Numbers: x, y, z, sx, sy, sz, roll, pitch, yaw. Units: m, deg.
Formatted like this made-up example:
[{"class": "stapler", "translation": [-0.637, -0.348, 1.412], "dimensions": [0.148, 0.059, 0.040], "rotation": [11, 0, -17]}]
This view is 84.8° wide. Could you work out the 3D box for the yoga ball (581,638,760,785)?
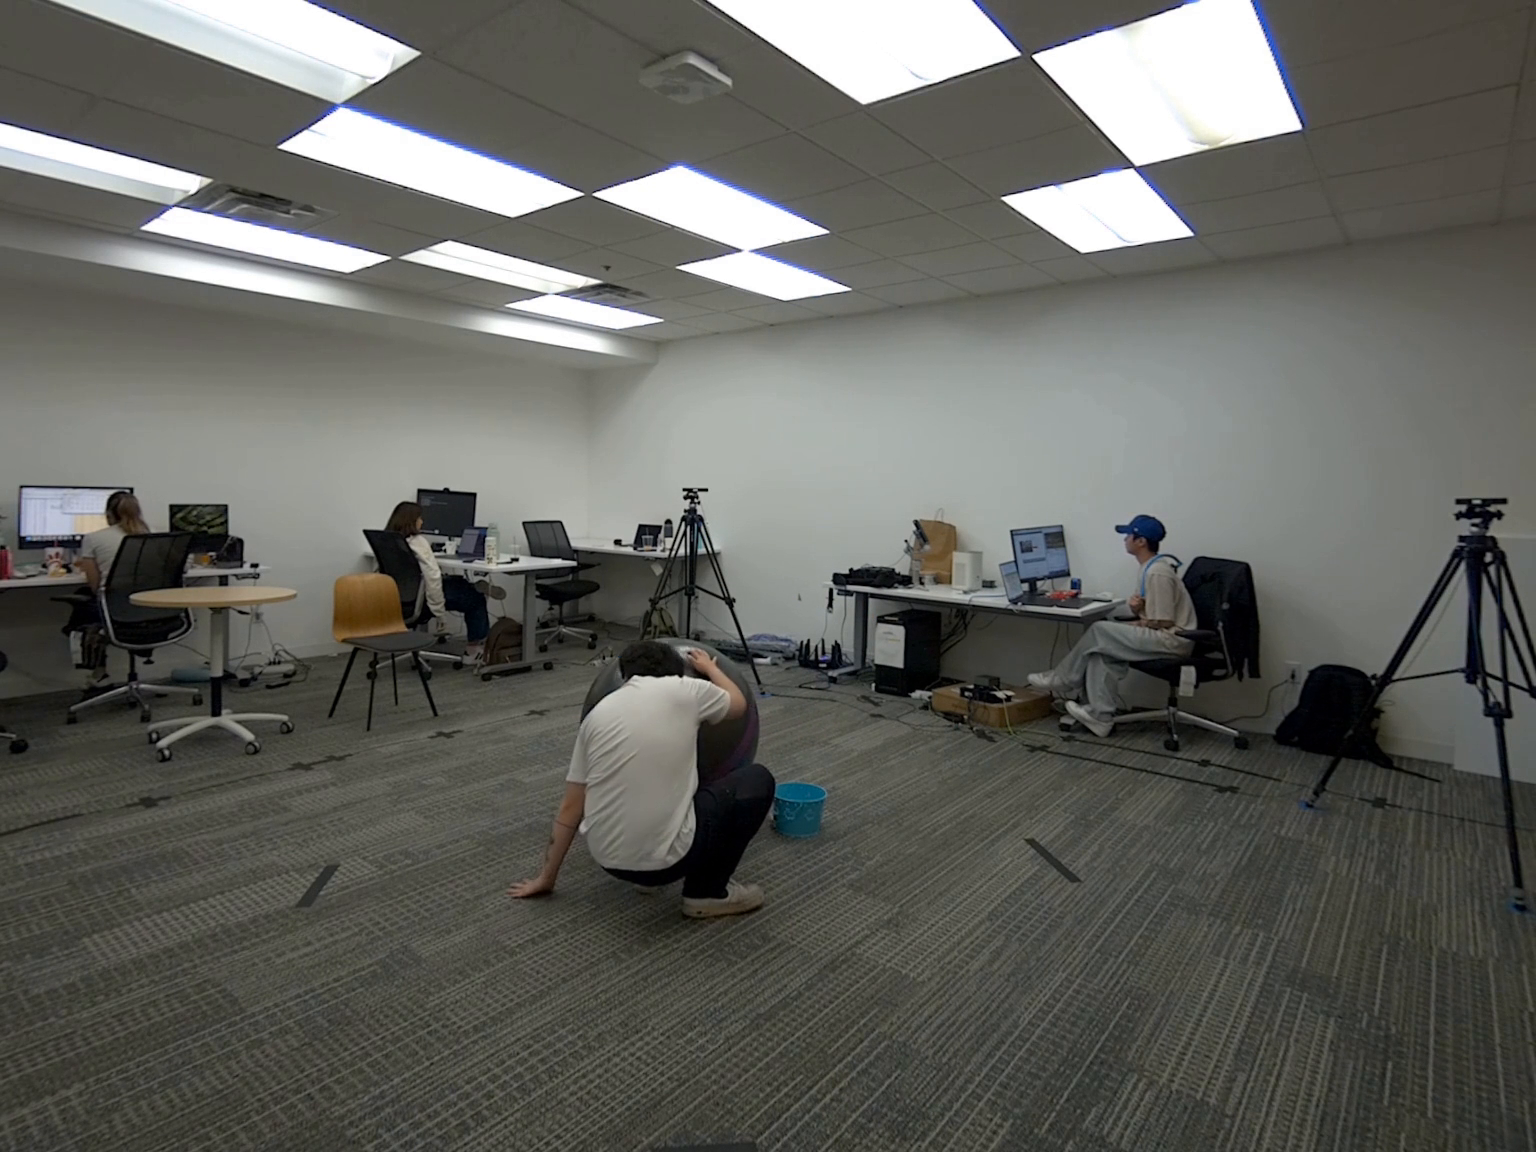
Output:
[{"class": "yoga ball", "translation": [-0.426, 0.641, 3.612], "dimensions": [0.757, 0.755, 0.762], "rotation": [1, 4, -2]}]
